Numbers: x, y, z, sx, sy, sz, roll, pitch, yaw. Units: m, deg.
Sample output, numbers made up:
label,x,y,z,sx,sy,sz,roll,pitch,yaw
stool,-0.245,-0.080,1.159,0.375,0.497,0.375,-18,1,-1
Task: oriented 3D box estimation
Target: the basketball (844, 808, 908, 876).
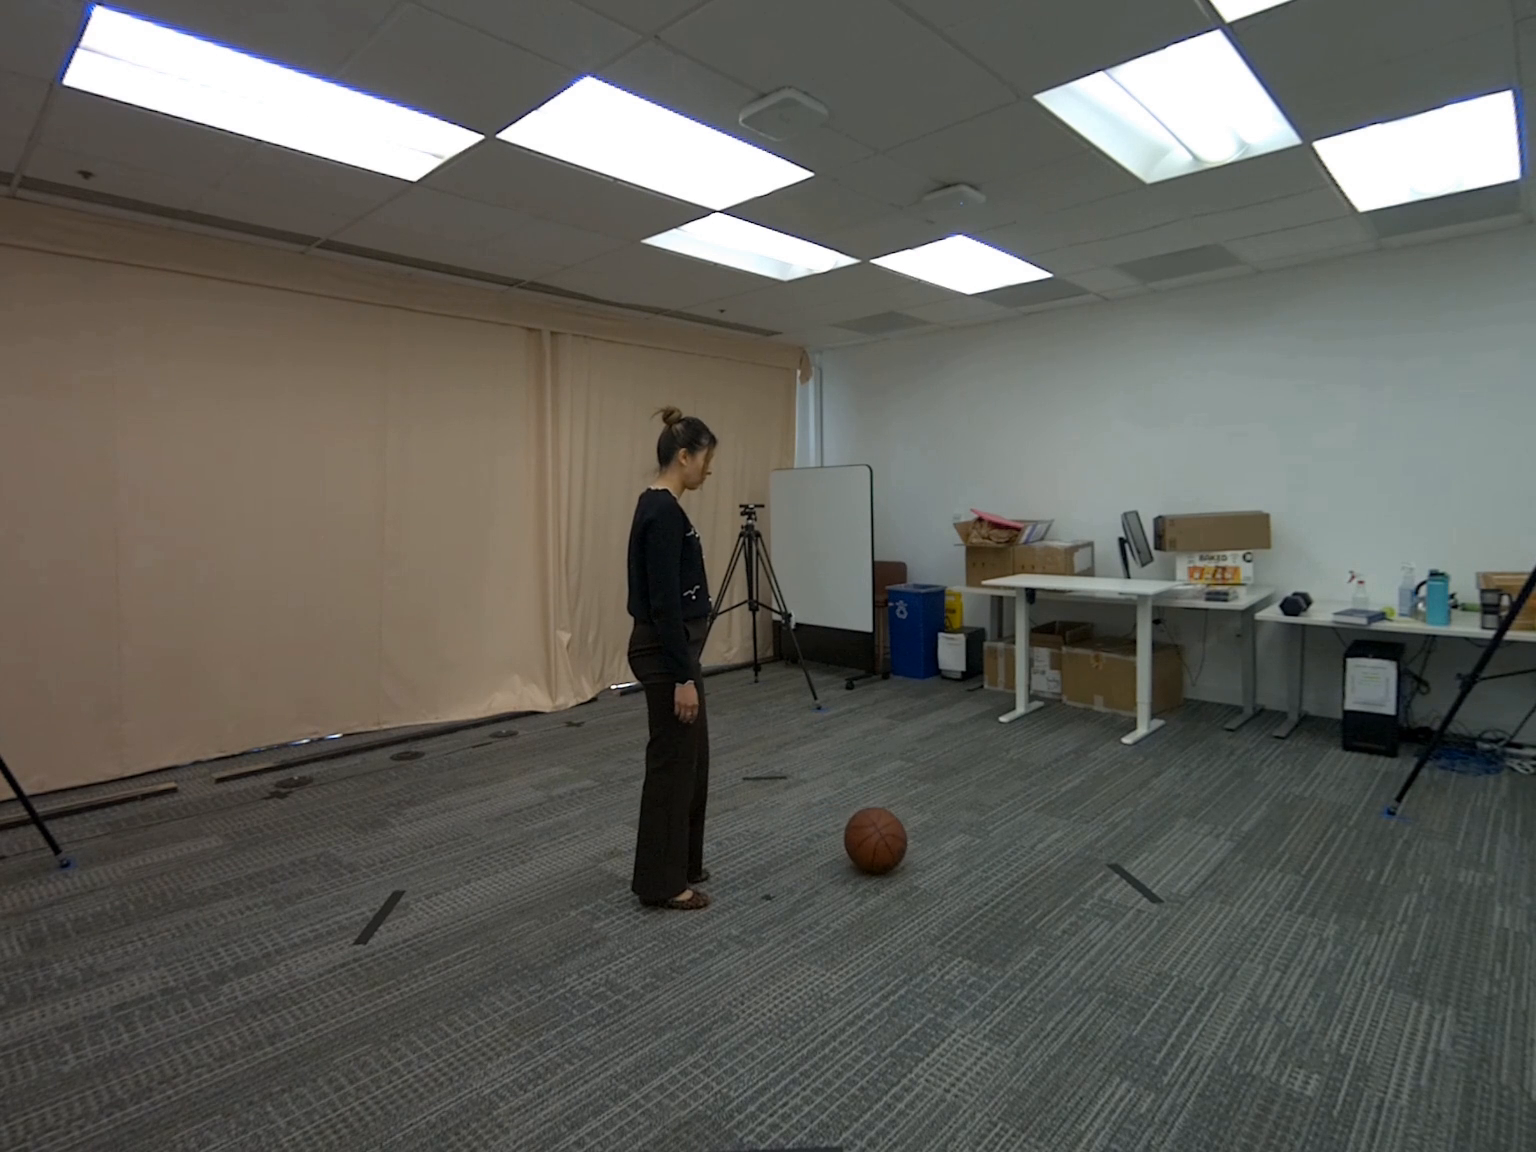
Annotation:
label,x,y,z,sx,sy,sz,roll,pitch,yaw
basketball,0.407,0.998,3.174,0.236,0.235,0.237,-1,4,-2
